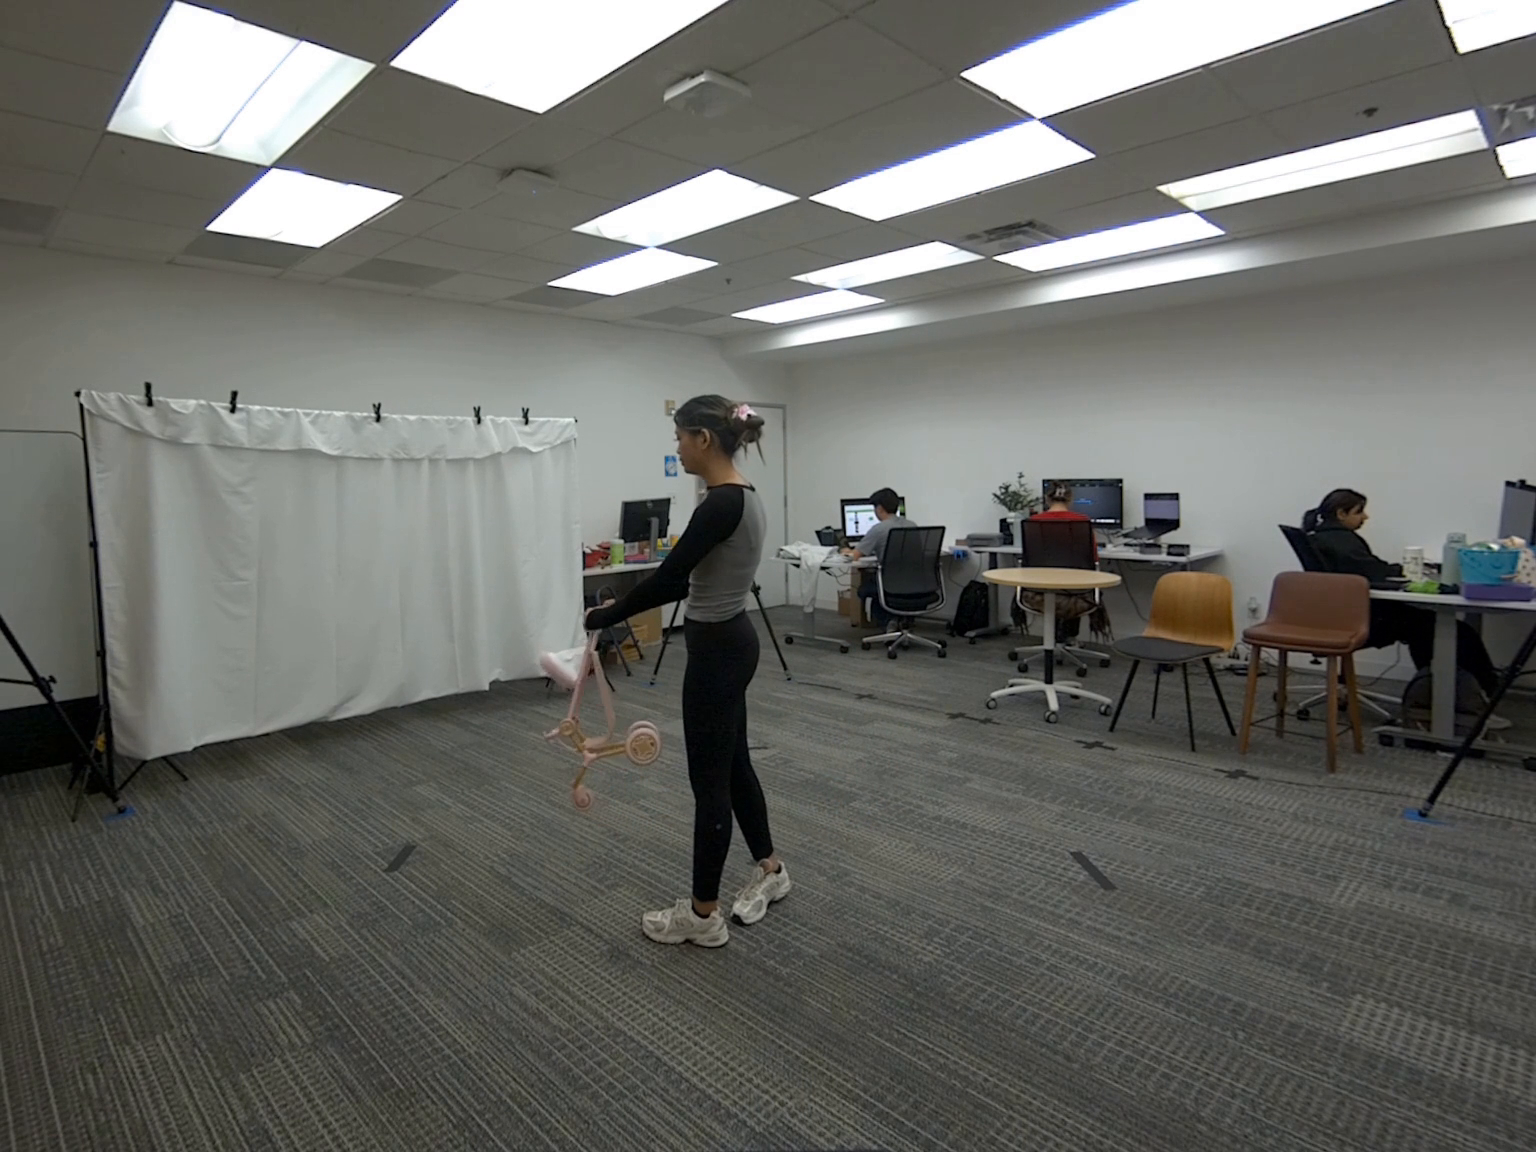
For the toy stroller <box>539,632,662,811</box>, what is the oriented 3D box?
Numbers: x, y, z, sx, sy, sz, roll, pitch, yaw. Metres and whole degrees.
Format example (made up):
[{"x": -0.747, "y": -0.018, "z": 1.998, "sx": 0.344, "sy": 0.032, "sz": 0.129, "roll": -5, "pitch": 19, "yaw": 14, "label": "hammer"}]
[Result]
[{"x": -0.556, "y": 0.427, "z": 2.679, "sx": 0.340, "sy": 0.537, "sz": 0.281, "roll": -26, "pitch": -2, "yaw": -6, "label": "toy stroller"}]
